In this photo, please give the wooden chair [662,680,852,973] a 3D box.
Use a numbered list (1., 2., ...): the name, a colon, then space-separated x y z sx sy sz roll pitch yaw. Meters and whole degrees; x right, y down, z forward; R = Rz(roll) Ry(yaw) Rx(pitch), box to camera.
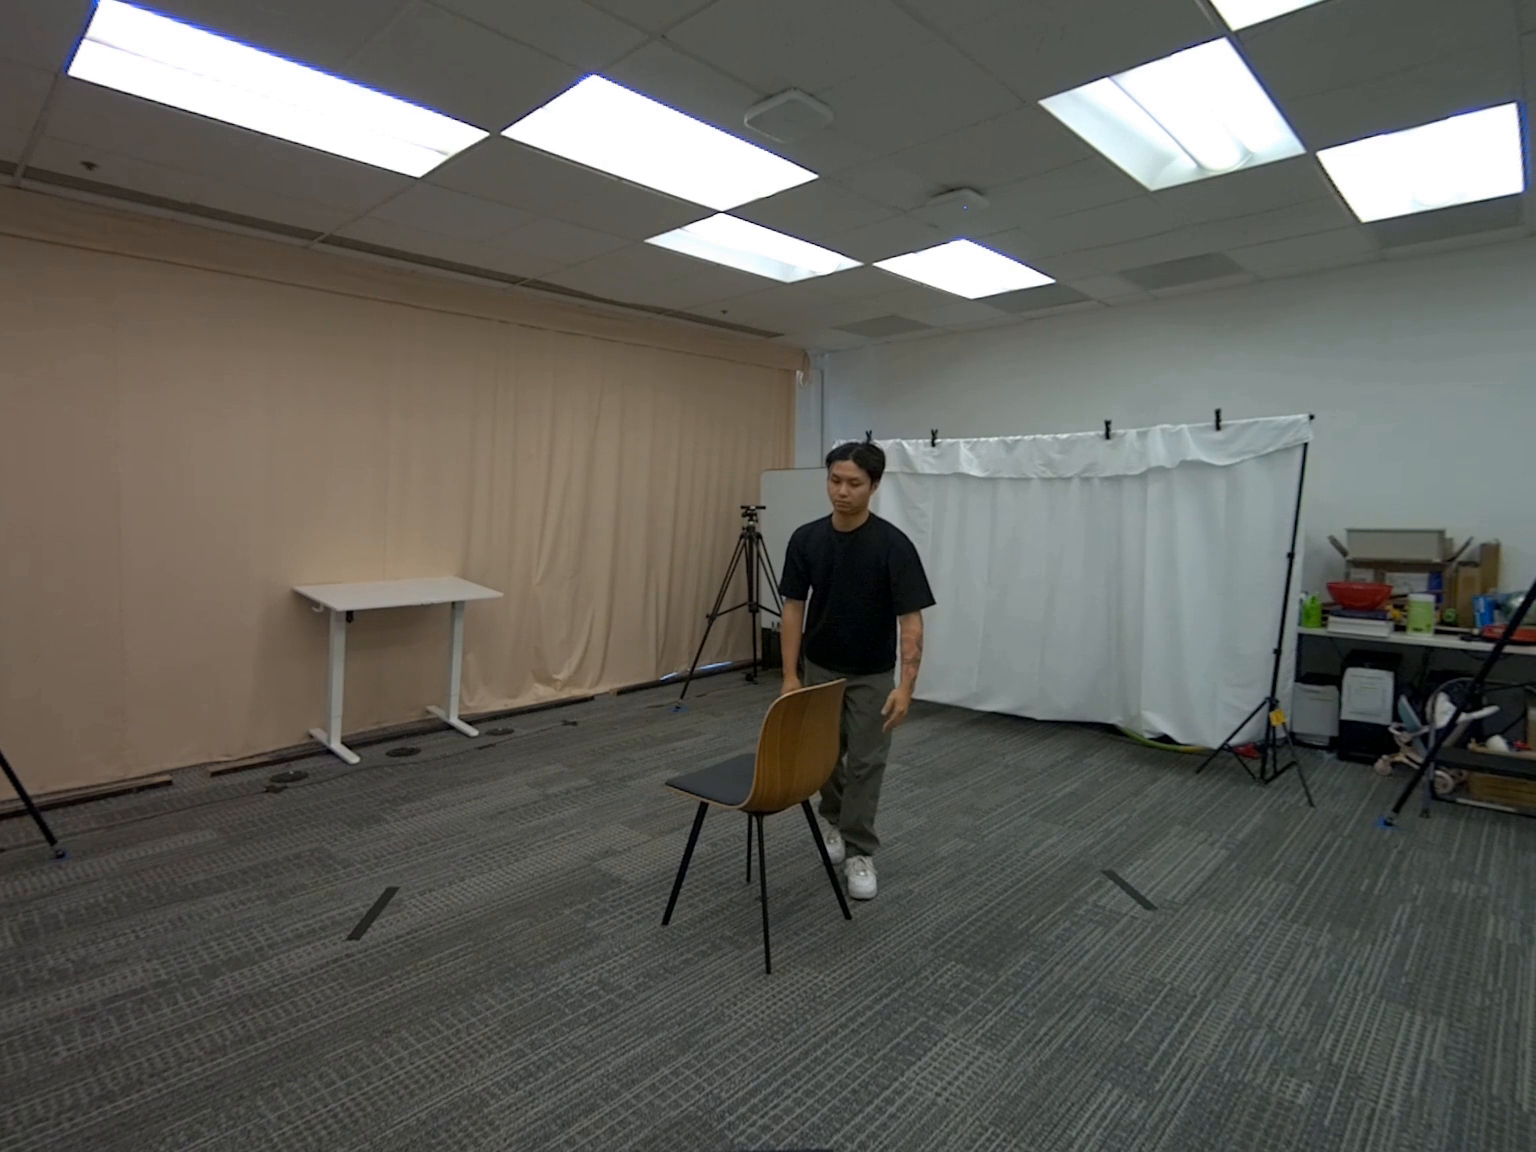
1. wooden chair: -0.046 0.730 2.791 0.541 0.874 0.464 8 8 39
